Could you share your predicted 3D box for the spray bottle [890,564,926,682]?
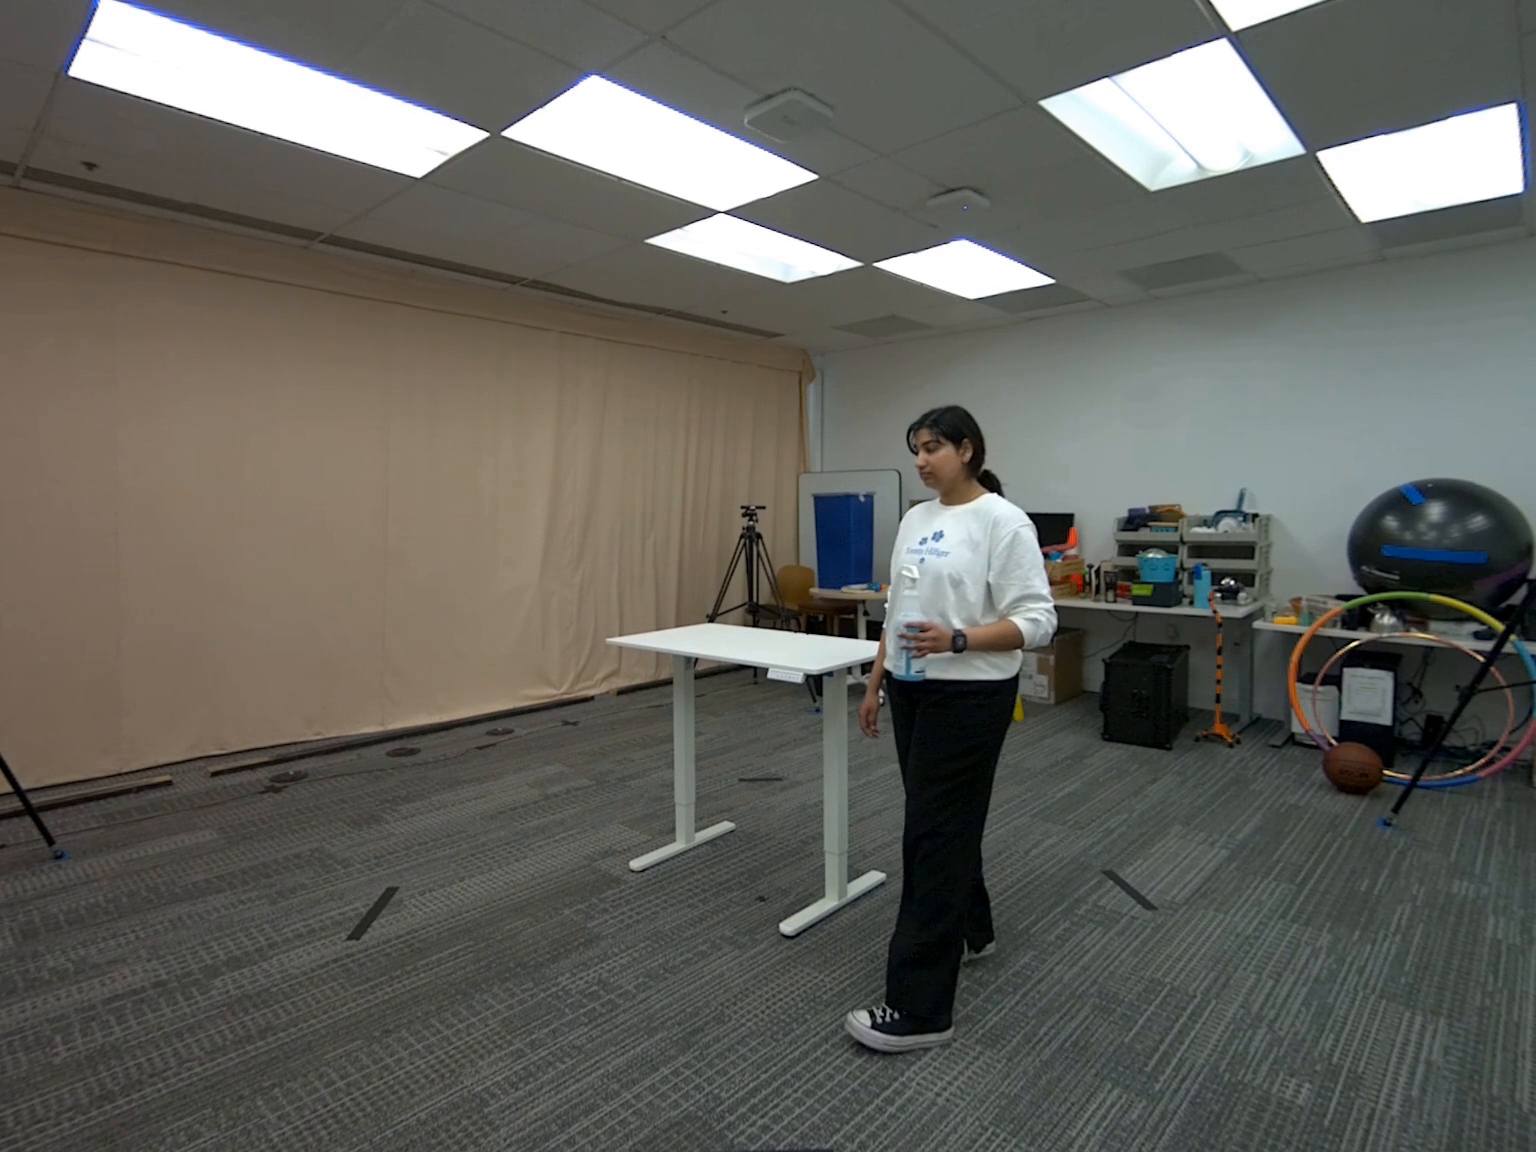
[{"bbox_3d":[0.390,0.122,2.211,0.089,0.297,0.088,1,0,17],"label":"spray bottle"}]
